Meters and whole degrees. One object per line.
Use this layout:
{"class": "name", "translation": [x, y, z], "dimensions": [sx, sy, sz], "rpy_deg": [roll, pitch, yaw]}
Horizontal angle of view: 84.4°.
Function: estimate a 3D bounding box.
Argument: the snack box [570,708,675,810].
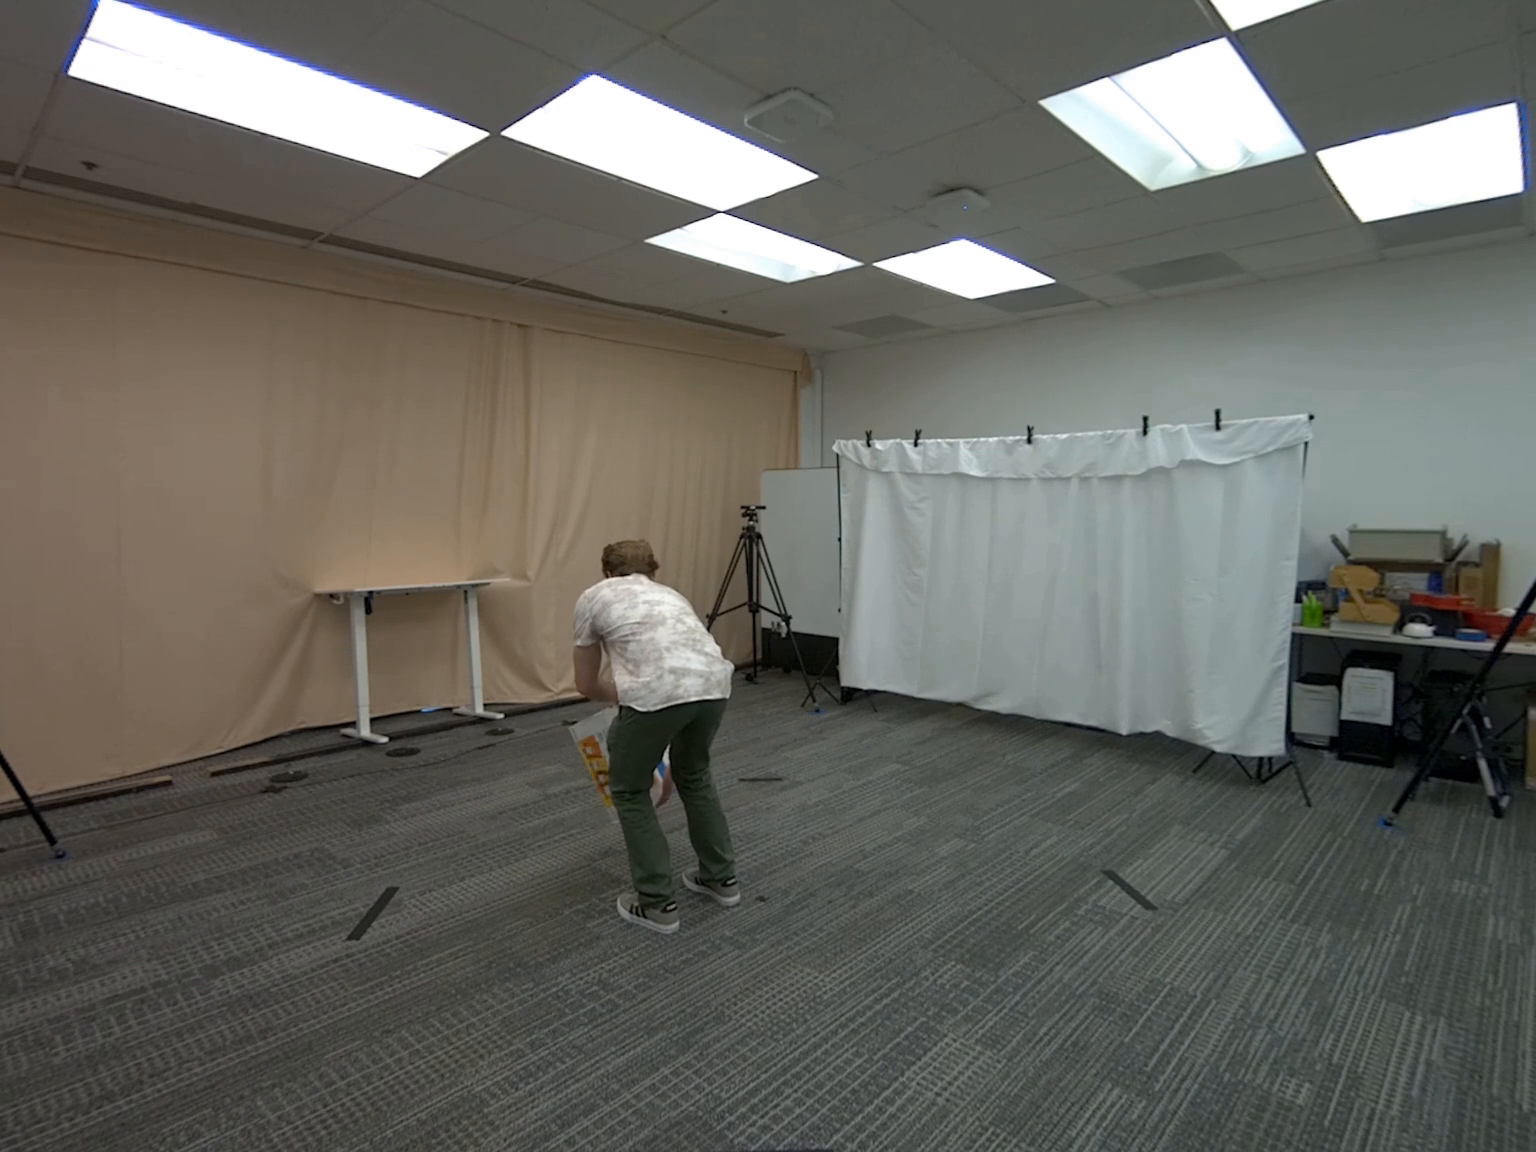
{"class": "snack box", "translation": [-0.531, 0.700, 3.324], "dimensions": [0.209, 0.407, 0.333], "rpy_deg": [-29, -5, 30]}
